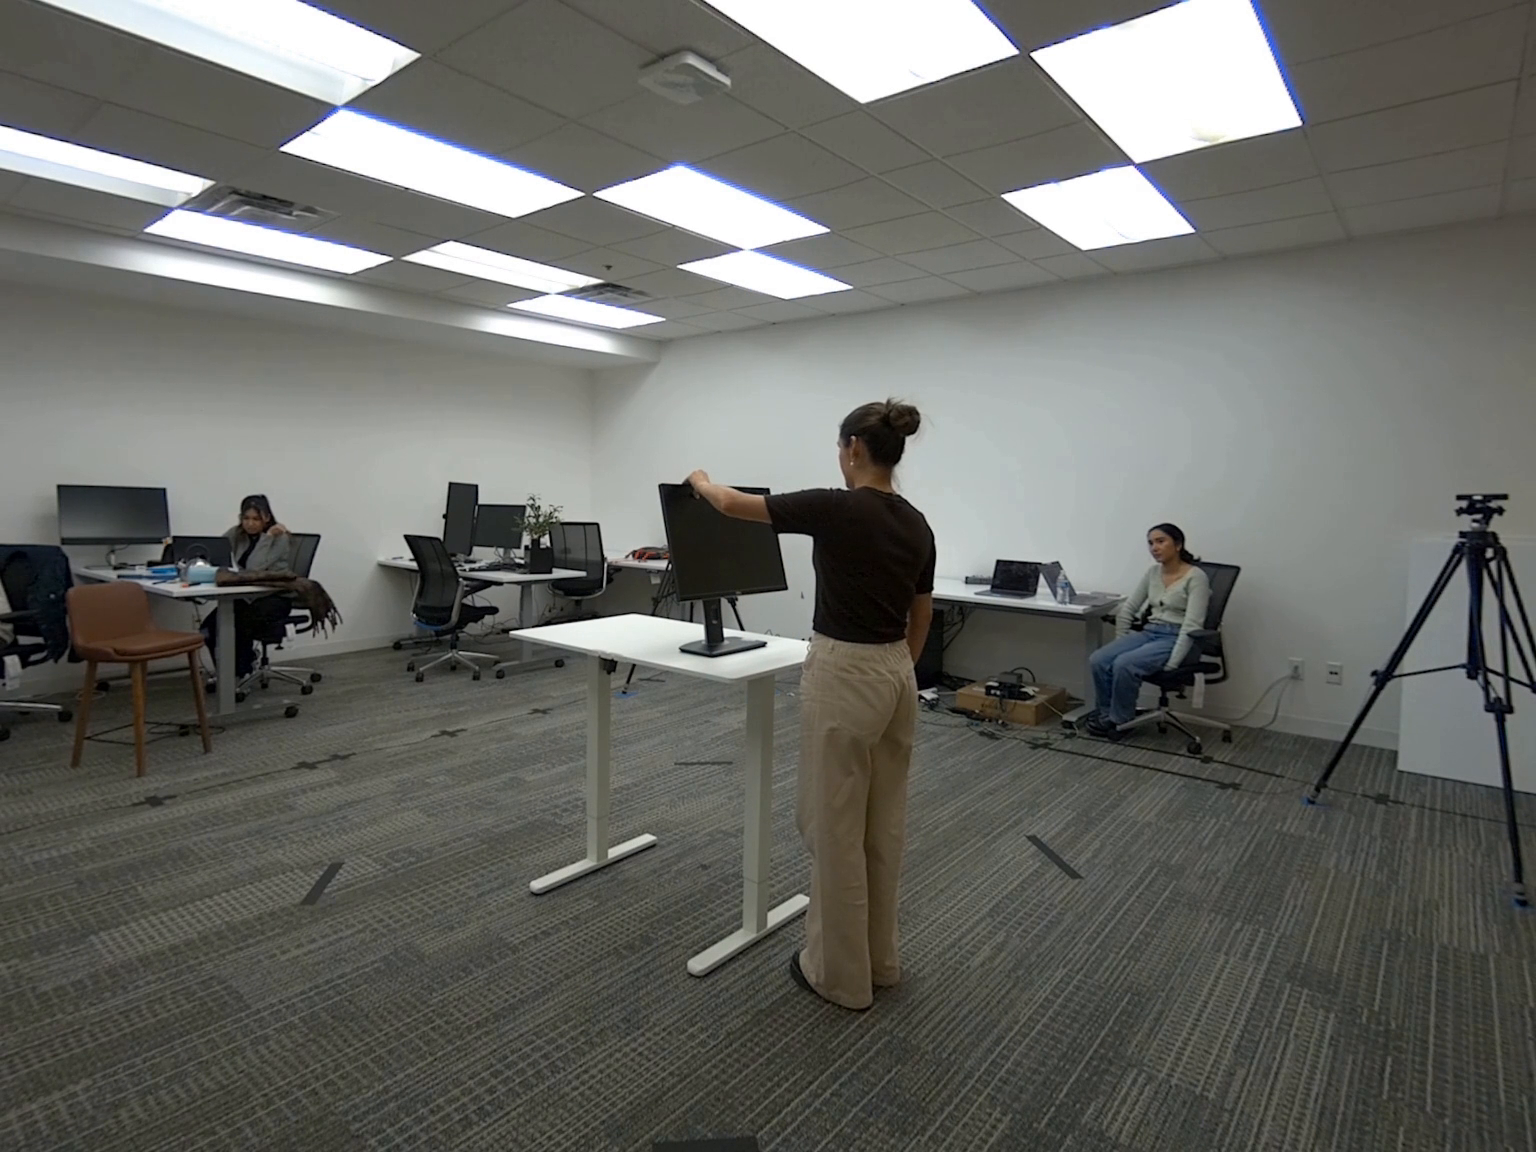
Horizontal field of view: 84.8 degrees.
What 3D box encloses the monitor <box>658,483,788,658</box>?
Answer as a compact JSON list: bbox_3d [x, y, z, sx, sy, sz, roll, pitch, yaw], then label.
[{"bbox_3d":[-0.159,-0.023,2.687,0.193,0.522,0.523,0,2,36],"label":"monitor"}]
